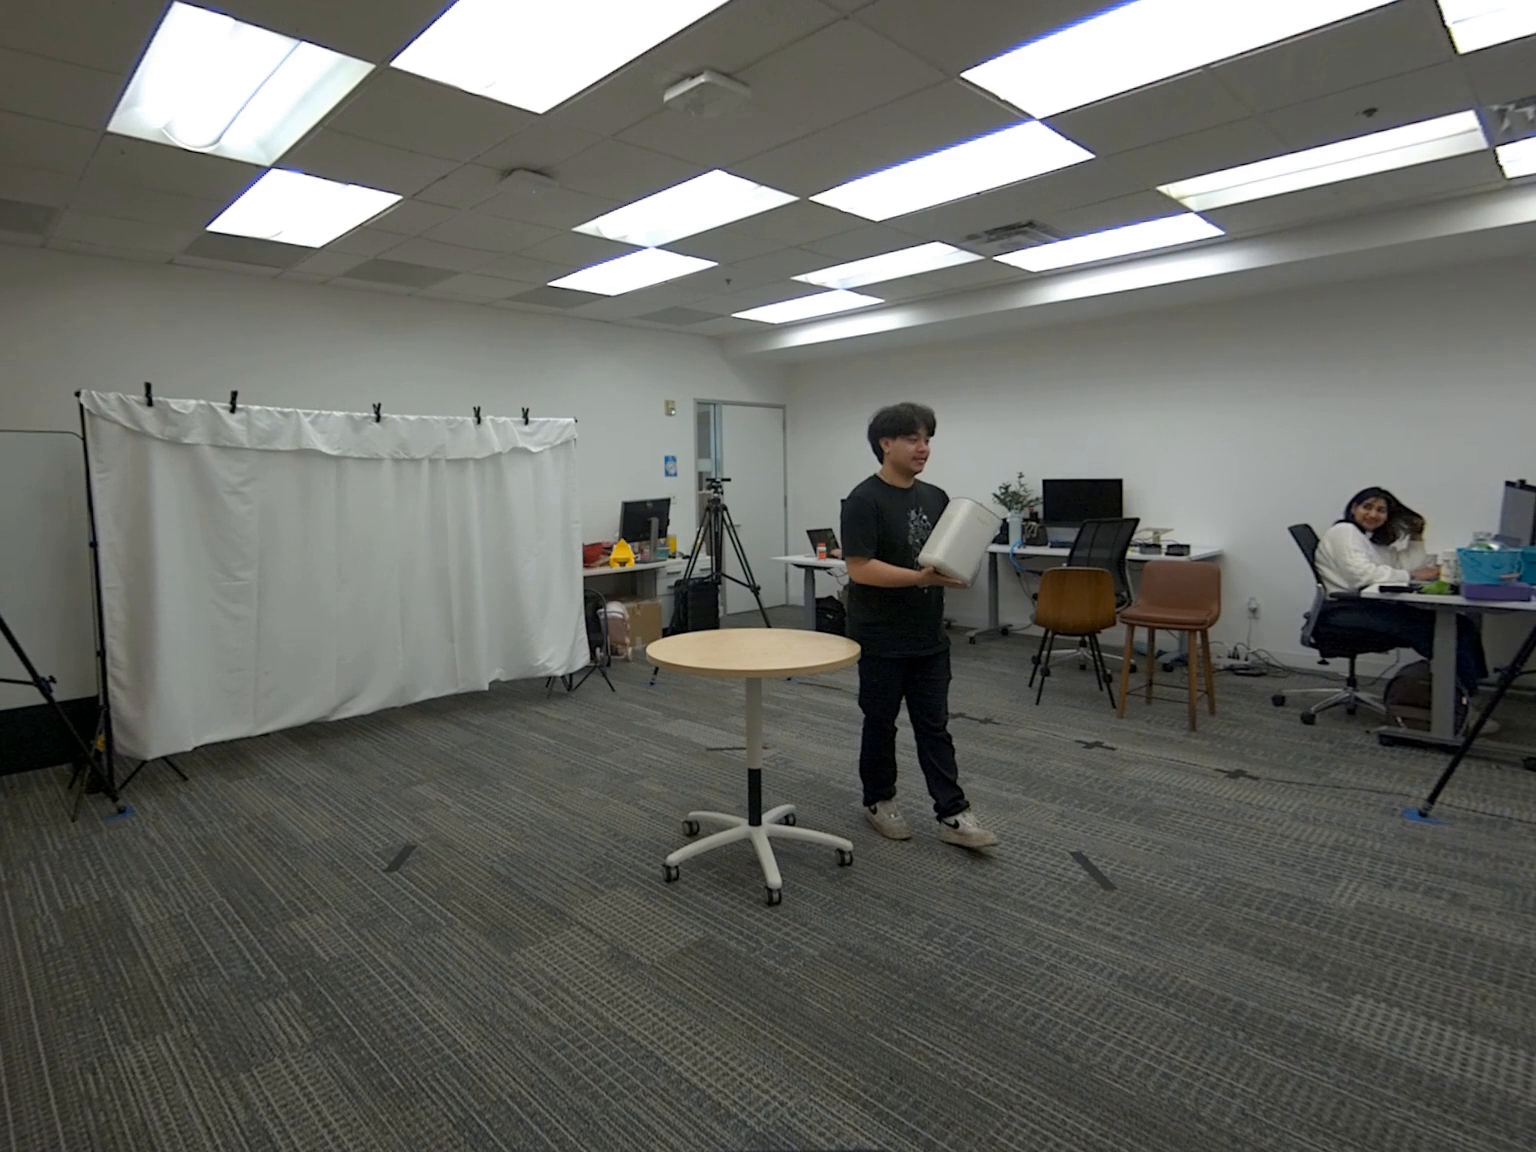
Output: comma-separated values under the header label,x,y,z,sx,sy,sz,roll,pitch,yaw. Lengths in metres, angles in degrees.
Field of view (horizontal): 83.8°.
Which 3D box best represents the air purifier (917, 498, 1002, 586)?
label,x,y,z,sx,sy,sz,roll,pitch,yaw
air purifier,0.660,-0.119,2.986,0.169,0.266,0.173,32,-6,-10
